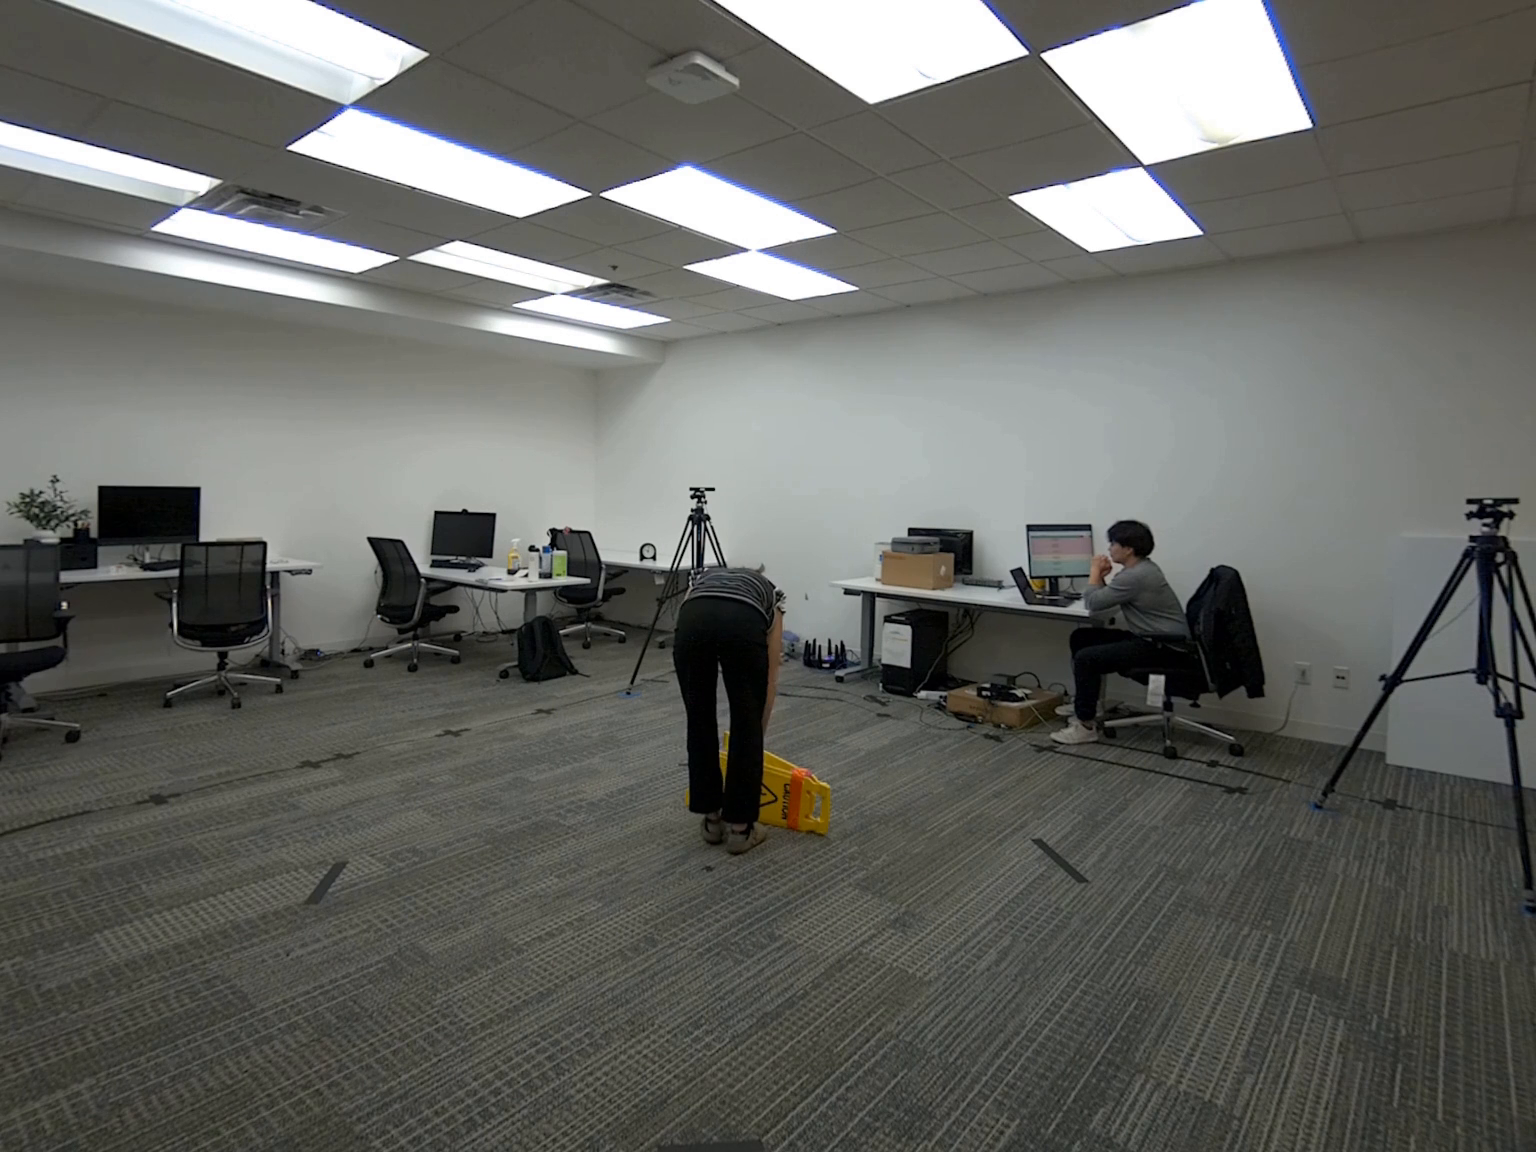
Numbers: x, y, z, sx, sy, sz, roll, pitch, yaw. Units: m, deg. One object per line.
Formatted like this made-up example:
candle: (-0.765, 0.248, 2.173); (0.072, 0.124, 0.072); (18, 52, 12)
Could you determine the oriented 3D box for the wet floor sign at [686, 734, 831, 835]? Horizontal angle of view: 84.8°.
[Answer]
wet floor sign: (-0.030, 0.896, 3.621); (0.668, 0.281, 0.281); (9, 6, 36)
